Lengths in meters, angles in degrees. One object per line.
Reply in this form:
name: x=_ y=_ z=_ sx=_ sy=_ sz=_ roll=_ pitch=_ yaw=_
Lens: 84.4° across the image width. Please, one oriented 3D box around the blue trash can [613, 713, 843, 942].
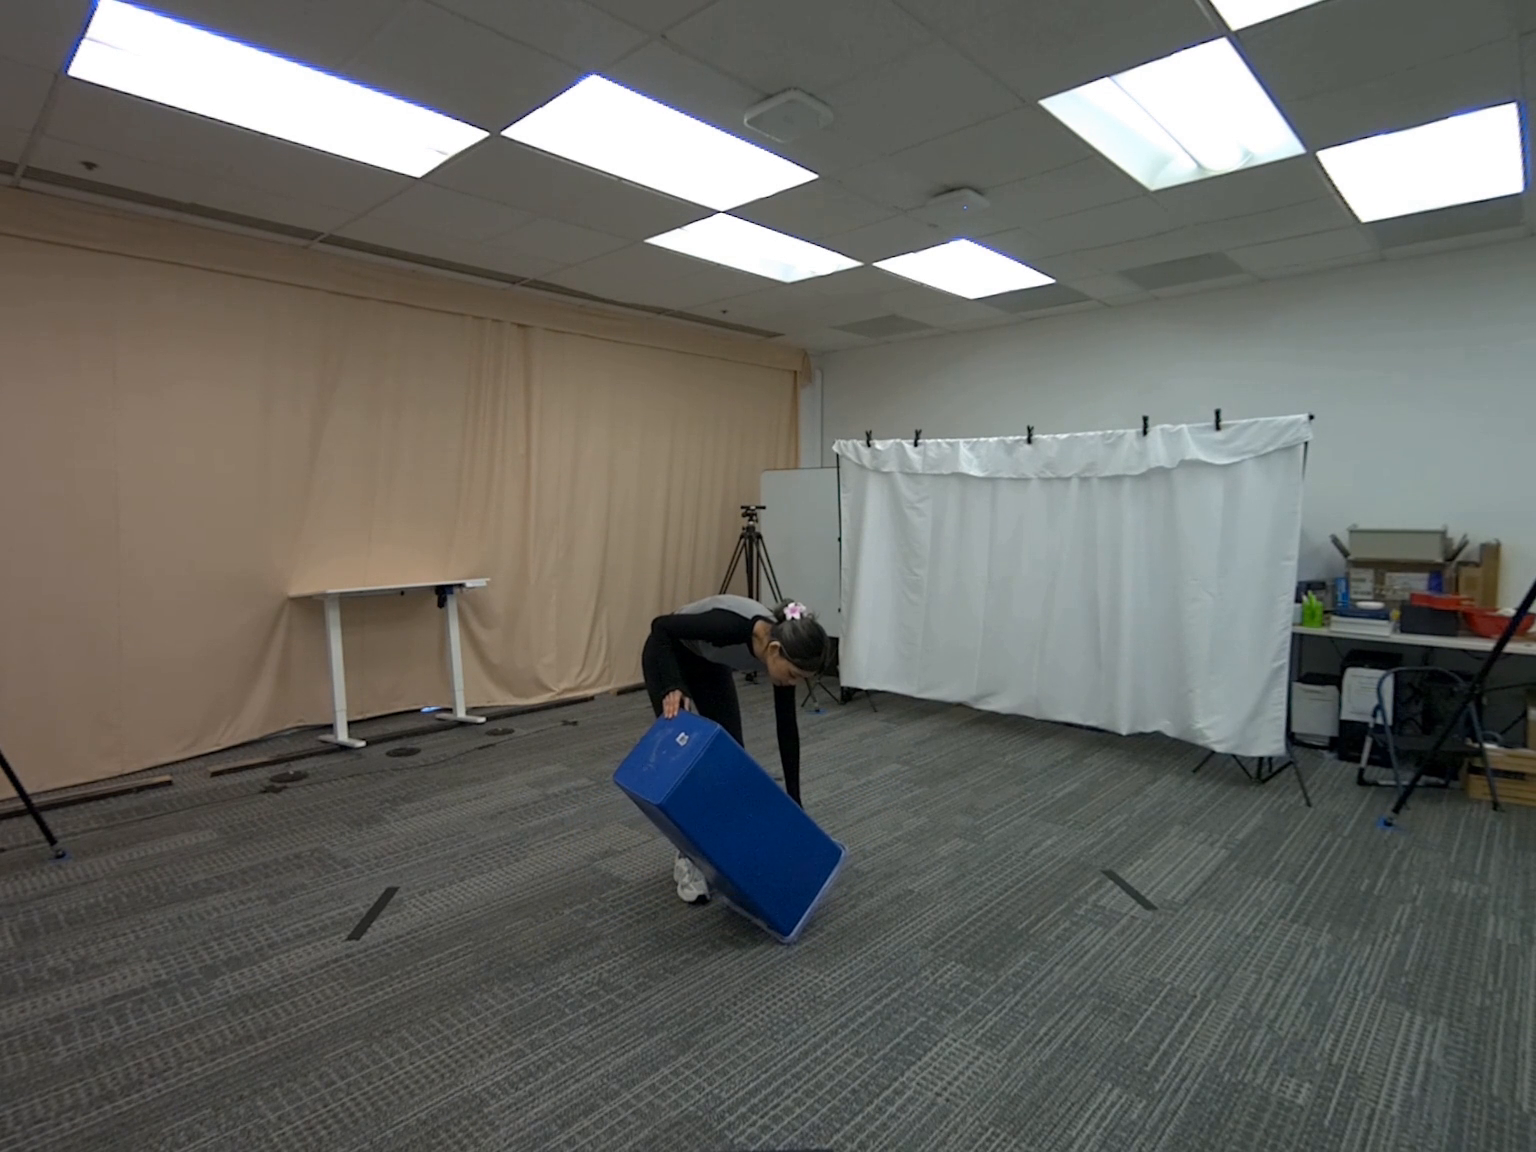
blue trash can: x=-0.116 y=0.785 z=2.718 sx=0.372 sy=0.695 sz=0.390 roll=-49 pitch=28 yaw=-23
